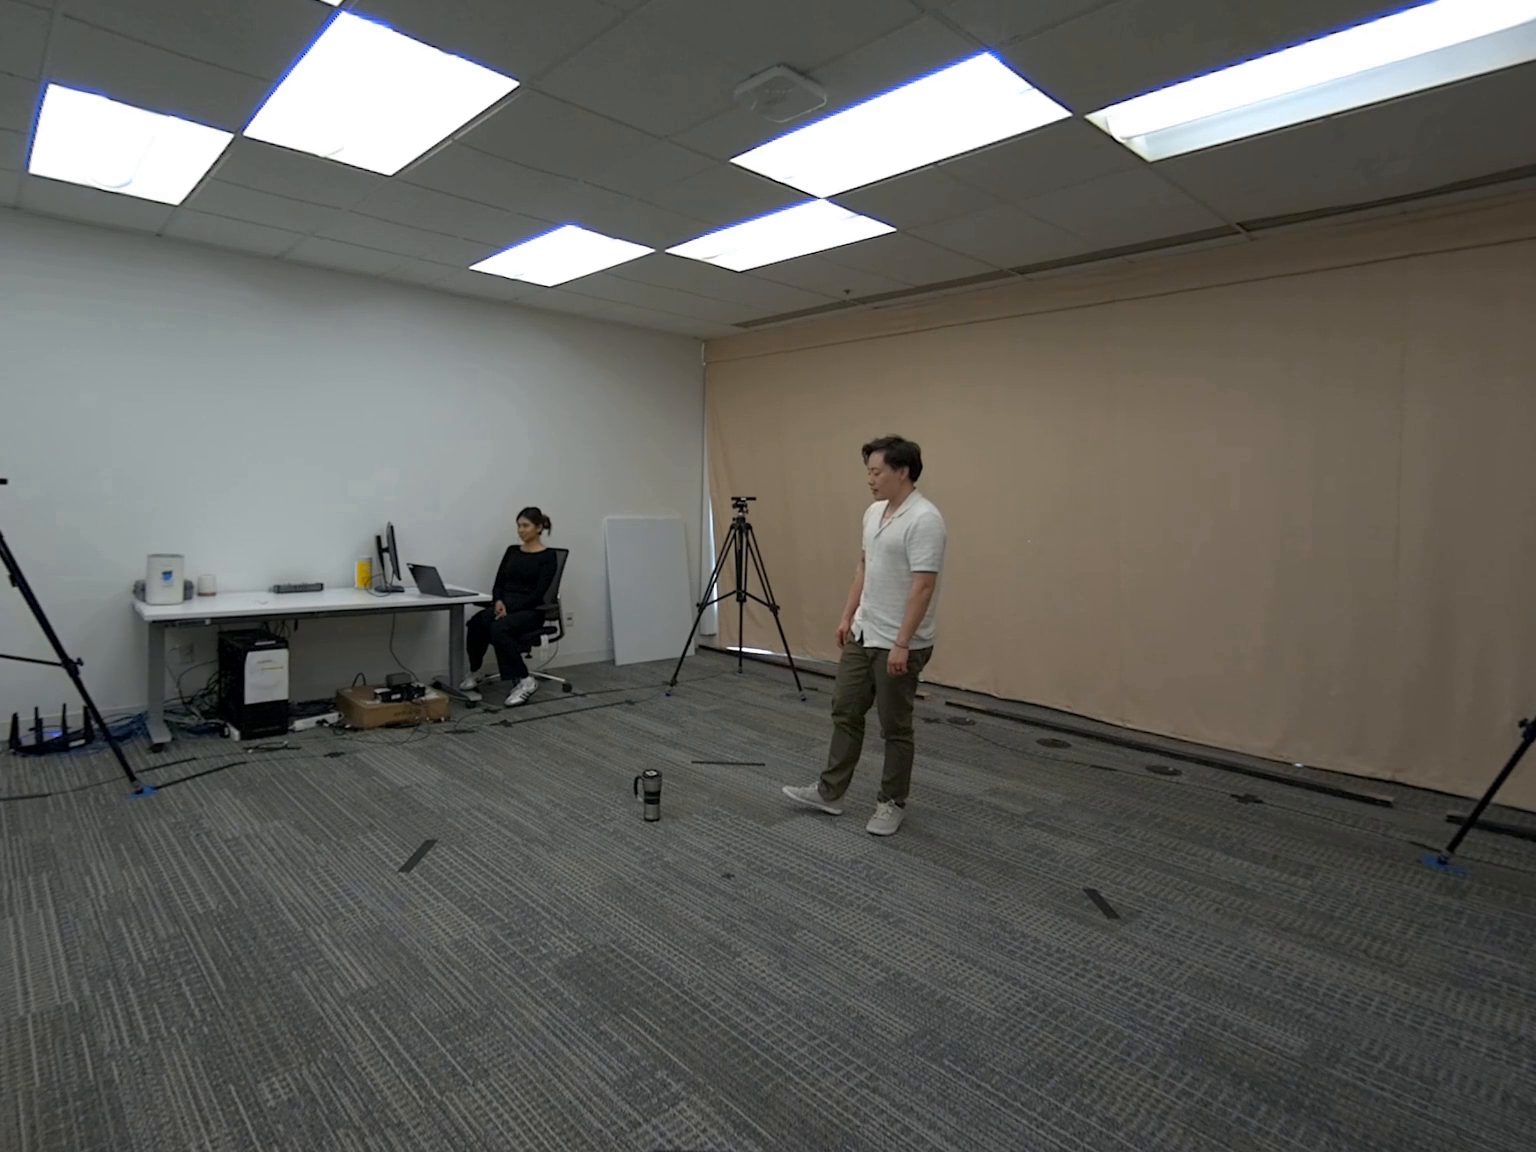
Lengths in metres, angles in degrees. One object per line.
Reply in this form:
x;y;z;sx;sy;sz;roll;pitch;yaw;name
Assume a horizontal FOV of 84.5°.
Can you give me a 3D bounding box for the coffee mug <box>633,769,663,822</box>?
-0.526;0.949;3.651;0.125;0.202;0.086;8;8;39;coffee mug
